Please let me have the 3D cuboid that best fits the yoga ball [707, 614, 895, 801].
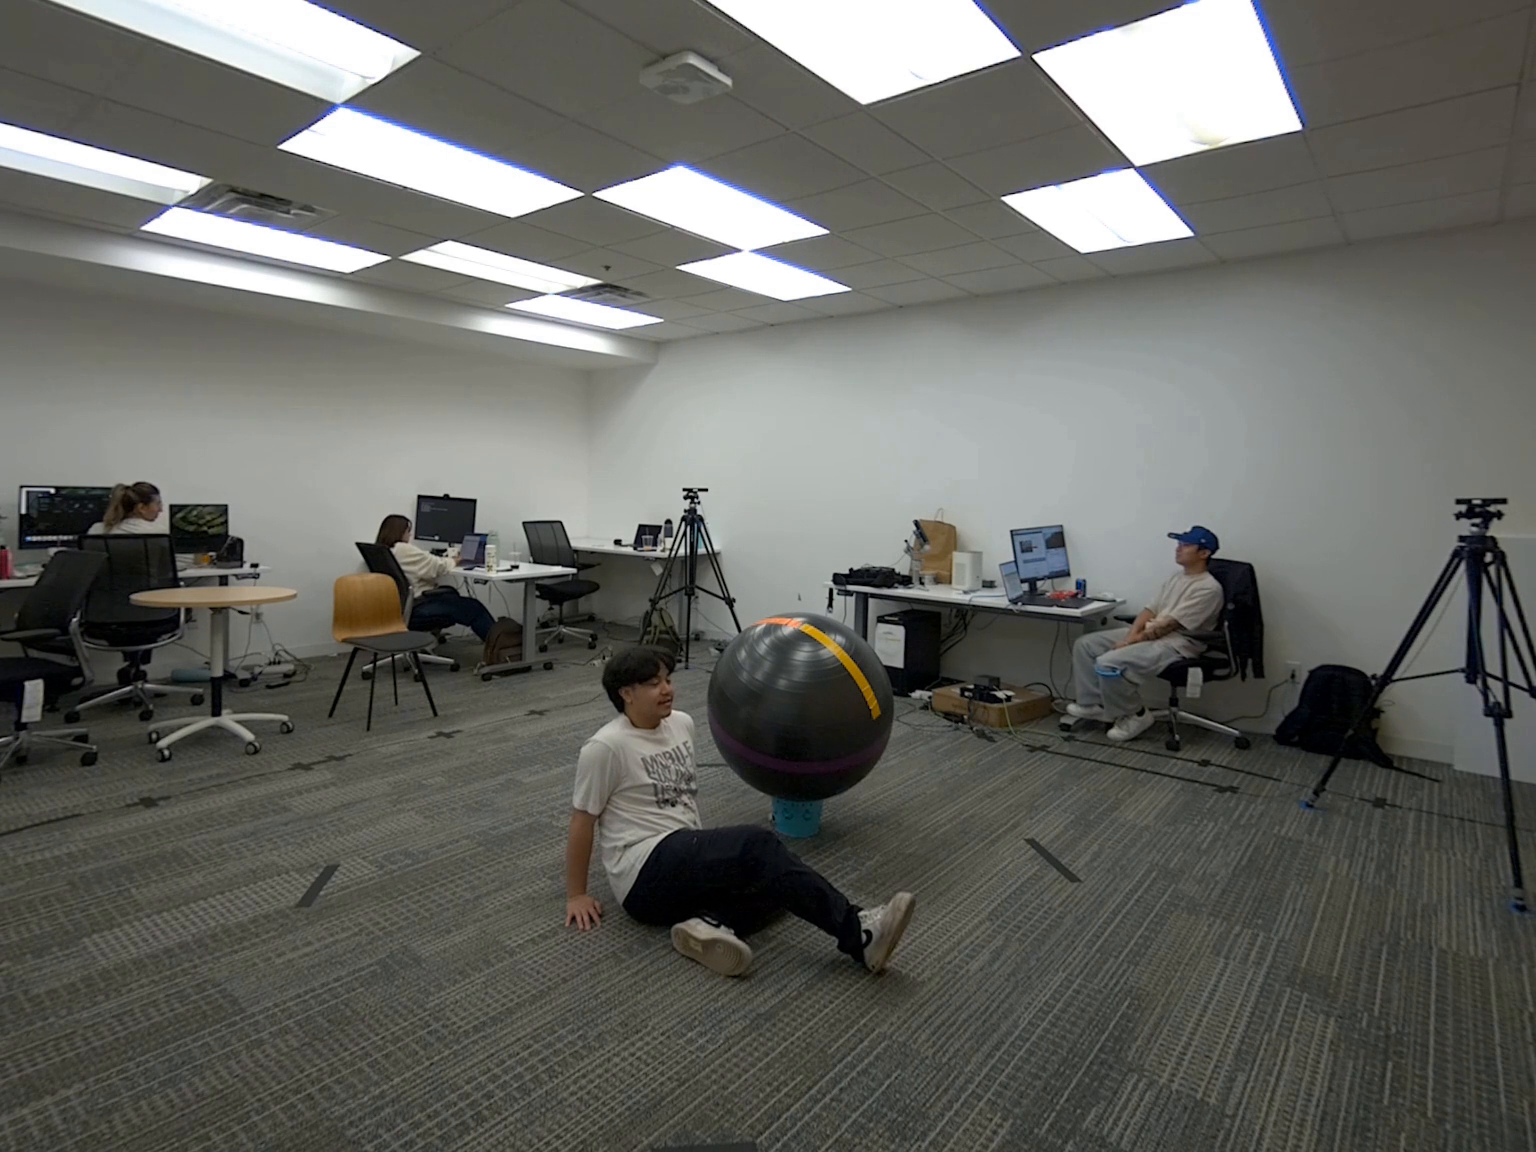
[{"bbox_3d":[0.132,0.527,3.487,0.757,0.756,0.761,1,4,-2],"label":"yoga ball"}]
